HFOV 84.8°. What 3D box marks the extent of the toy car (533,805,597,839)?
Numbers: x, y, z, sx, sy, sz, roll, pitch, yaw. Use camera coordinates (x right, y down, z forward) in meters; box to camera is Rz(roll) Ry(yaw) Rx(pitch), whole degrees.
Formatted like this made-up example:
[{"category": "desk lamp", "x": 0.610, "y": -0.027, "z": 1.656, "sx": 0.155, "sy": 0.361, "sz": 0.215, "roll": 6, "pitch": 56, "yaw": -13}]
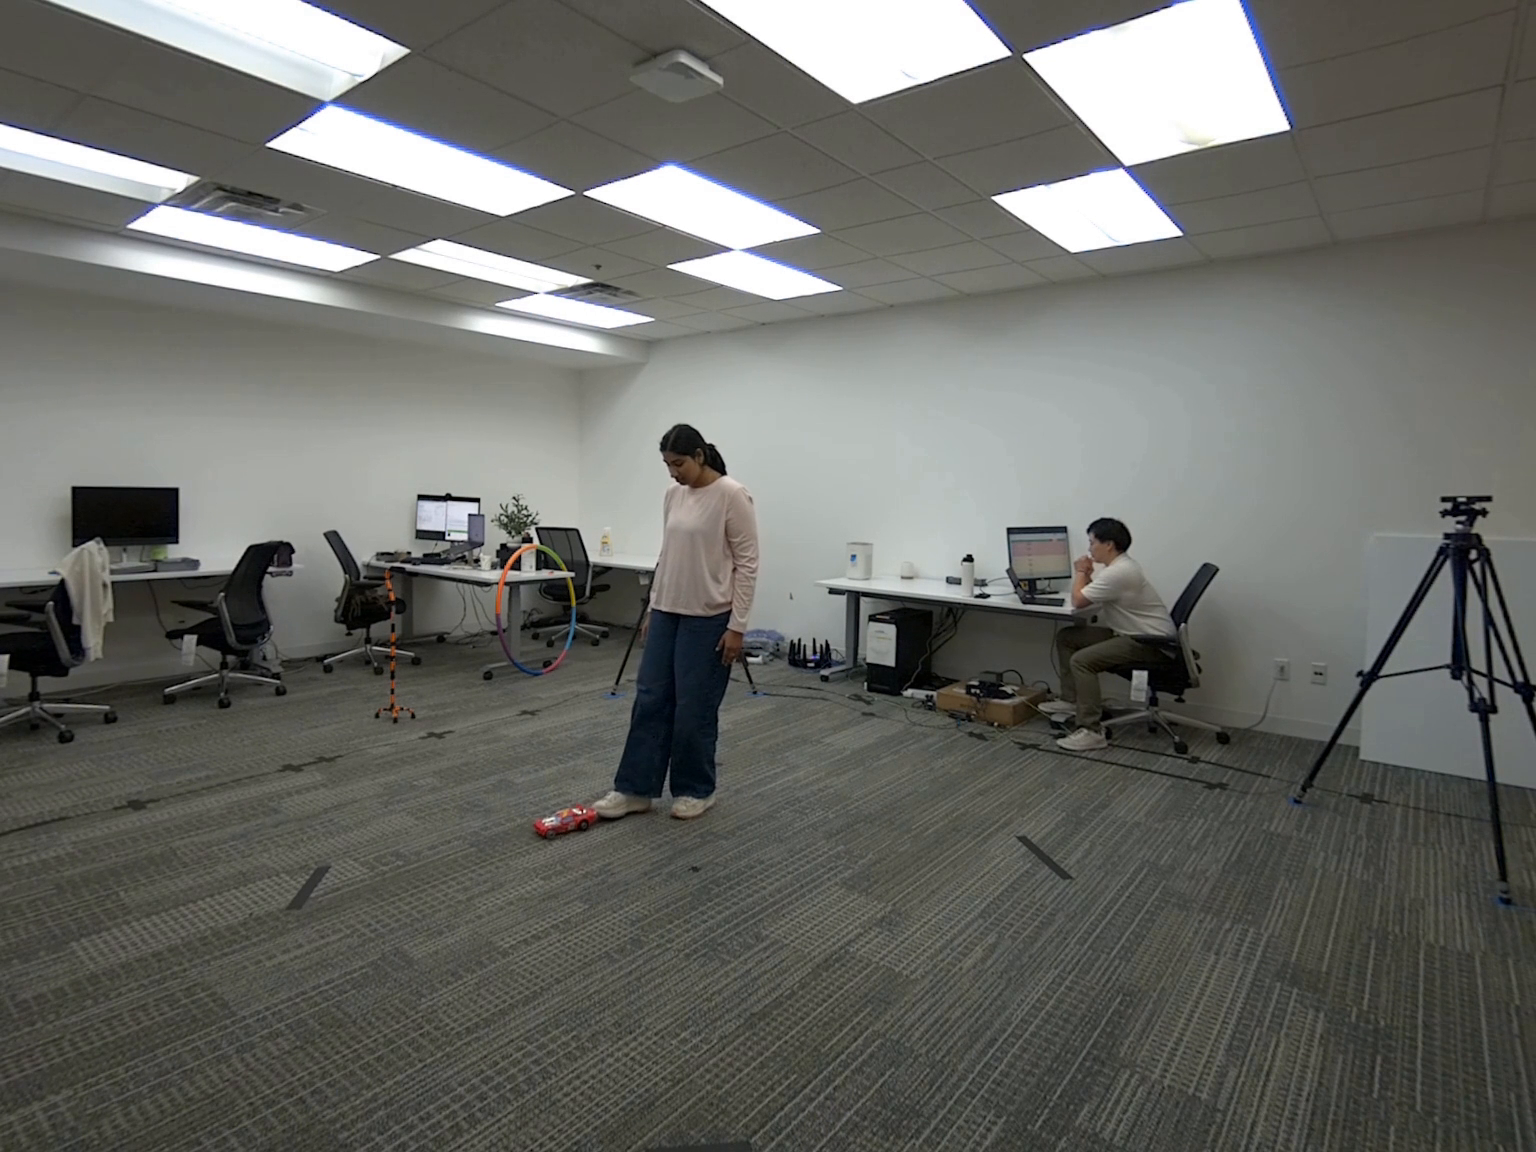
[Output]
[{"category": "toy car", "x": -0.829, "y": 0.990, "z": 3.443, "sx": 0.249, "sy": 0.082, "sz": 0.134, "roll": -17, "pitch": 14, "yaw": -35}]
